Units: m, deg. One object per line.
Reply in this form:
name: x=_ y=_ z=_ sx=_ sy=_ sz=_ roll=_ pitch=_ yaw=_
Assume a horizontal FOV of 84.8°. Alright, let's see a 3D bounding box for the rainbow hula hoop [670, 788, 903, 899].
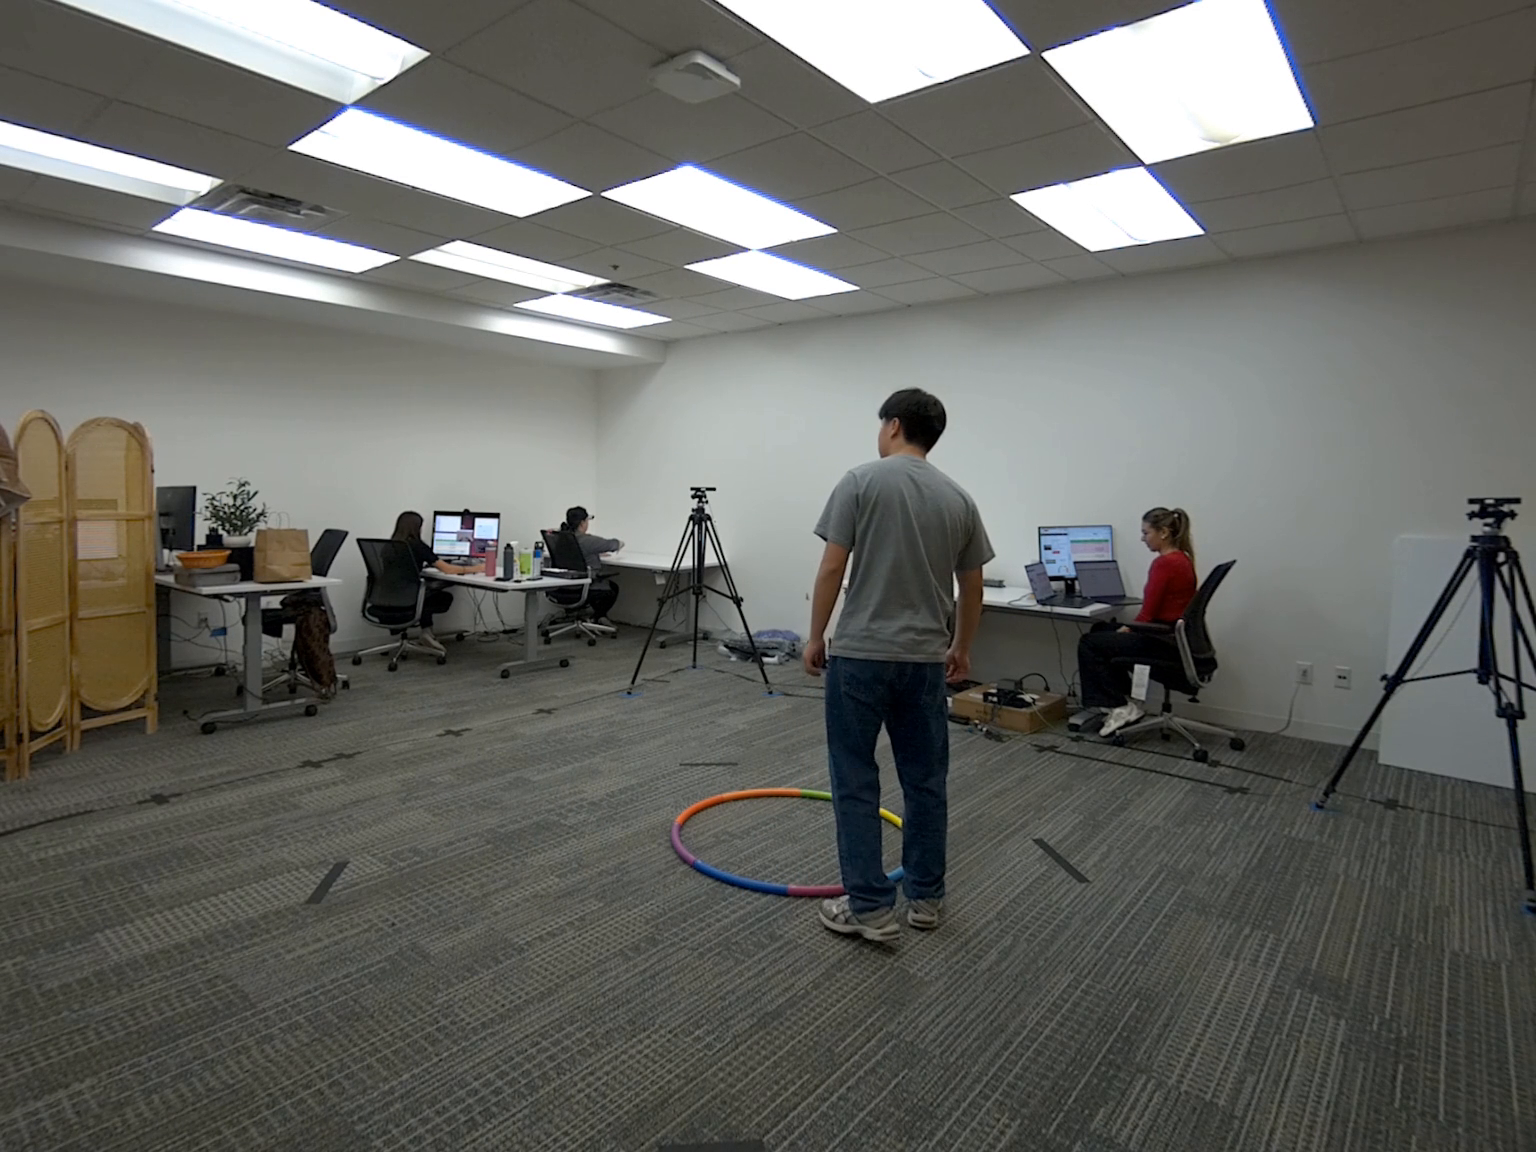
rainbow hula hoop: x=0.093 y=1.018 z=3.379 sx=0.978 sy=0.035 sz=0.984 roll=1 pitch=6 yaw=-2
